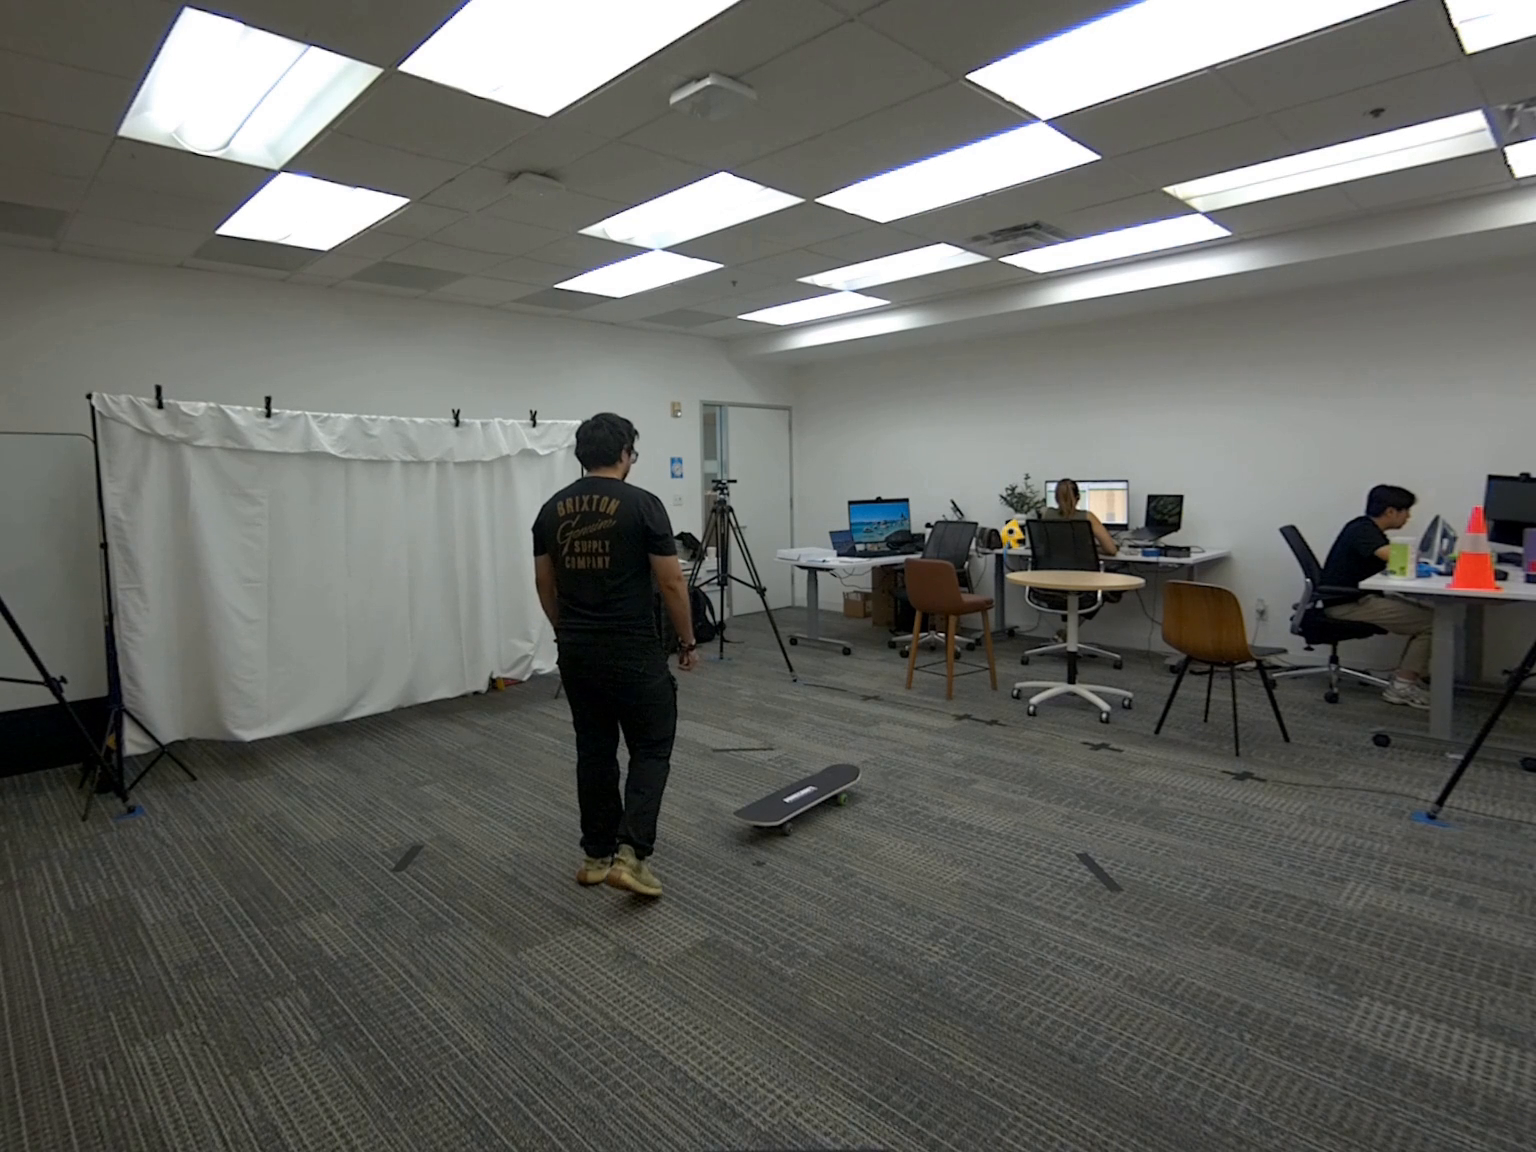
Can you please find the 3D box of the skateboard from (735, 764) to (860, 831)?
[{"bbox_3d":[0.136,0.935,3.551,0.199,0.110,0.766,4,9,38],"label":"skateboard"}]
